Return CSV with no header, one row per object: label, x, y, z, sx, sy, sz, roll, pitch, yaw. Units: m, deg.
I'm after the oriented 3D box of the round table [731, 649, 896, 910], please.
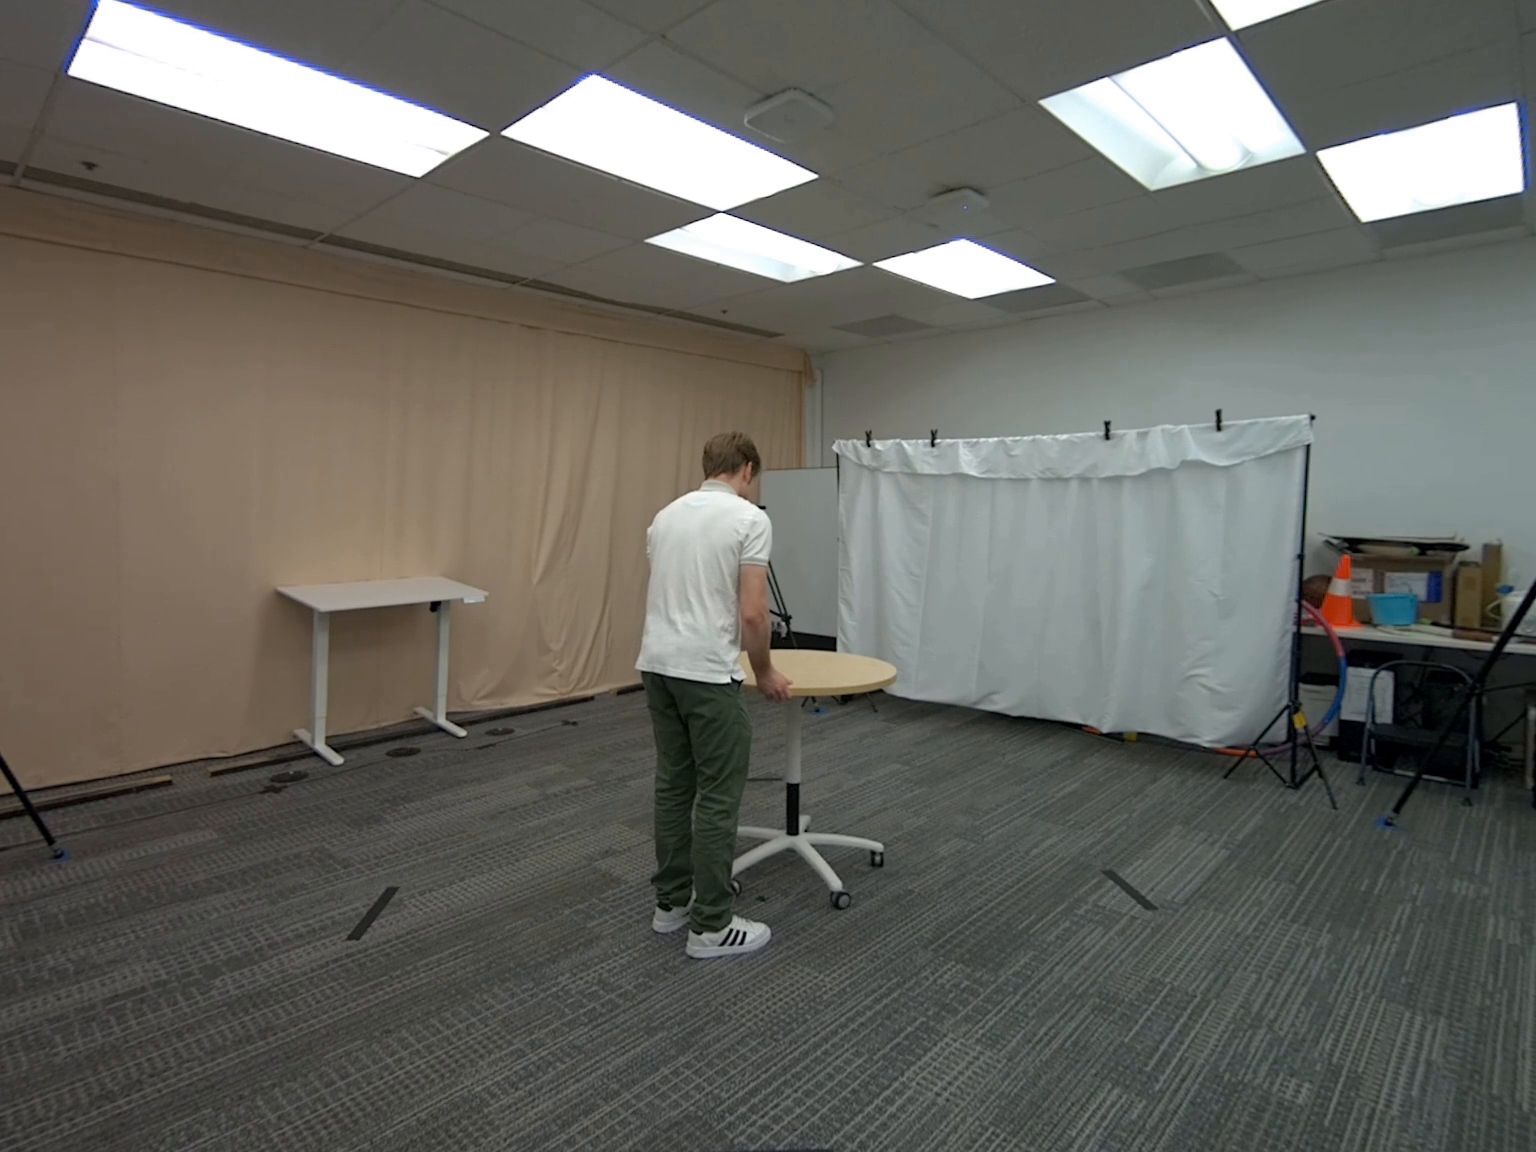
round table,0.101,0.735,3.195,0.763,0.792,0.767,0,4,-2
